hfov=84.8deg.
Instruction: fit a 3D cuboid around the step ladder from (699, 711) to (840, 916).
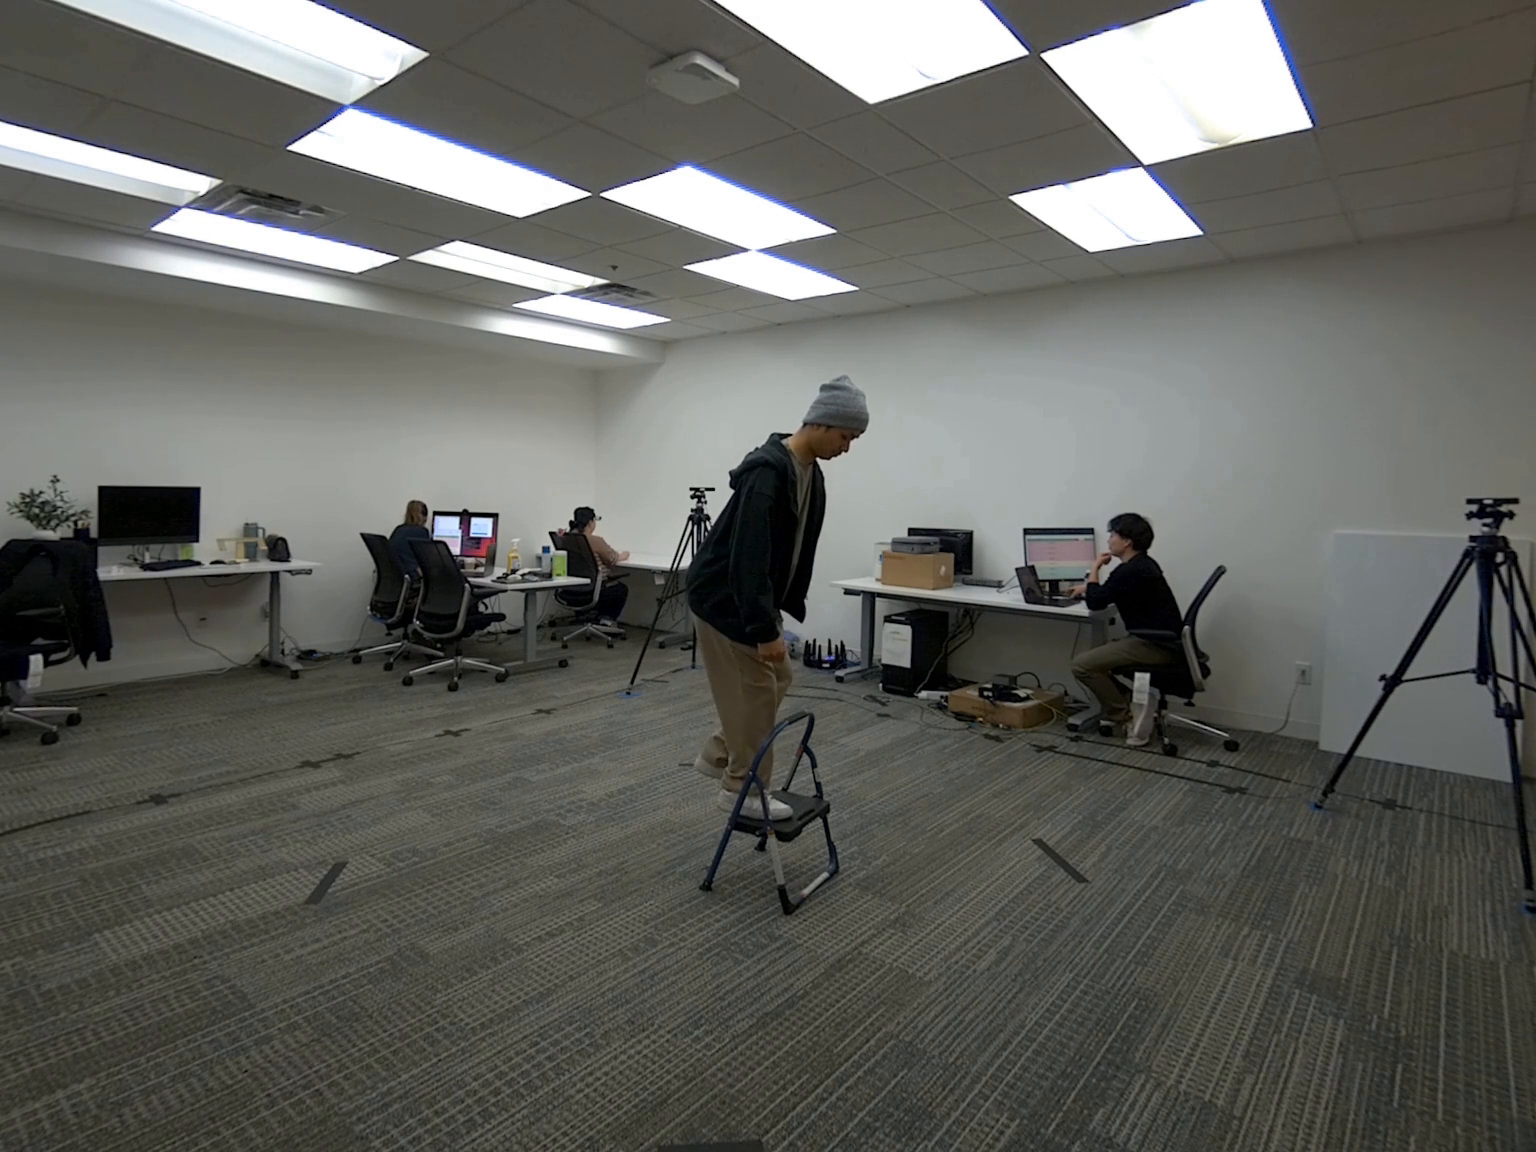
[{"bbox_3d":[0.016,0.779,3.016,0.359,0.604,0.420,4,4,29],"label":"step ladder"}]
